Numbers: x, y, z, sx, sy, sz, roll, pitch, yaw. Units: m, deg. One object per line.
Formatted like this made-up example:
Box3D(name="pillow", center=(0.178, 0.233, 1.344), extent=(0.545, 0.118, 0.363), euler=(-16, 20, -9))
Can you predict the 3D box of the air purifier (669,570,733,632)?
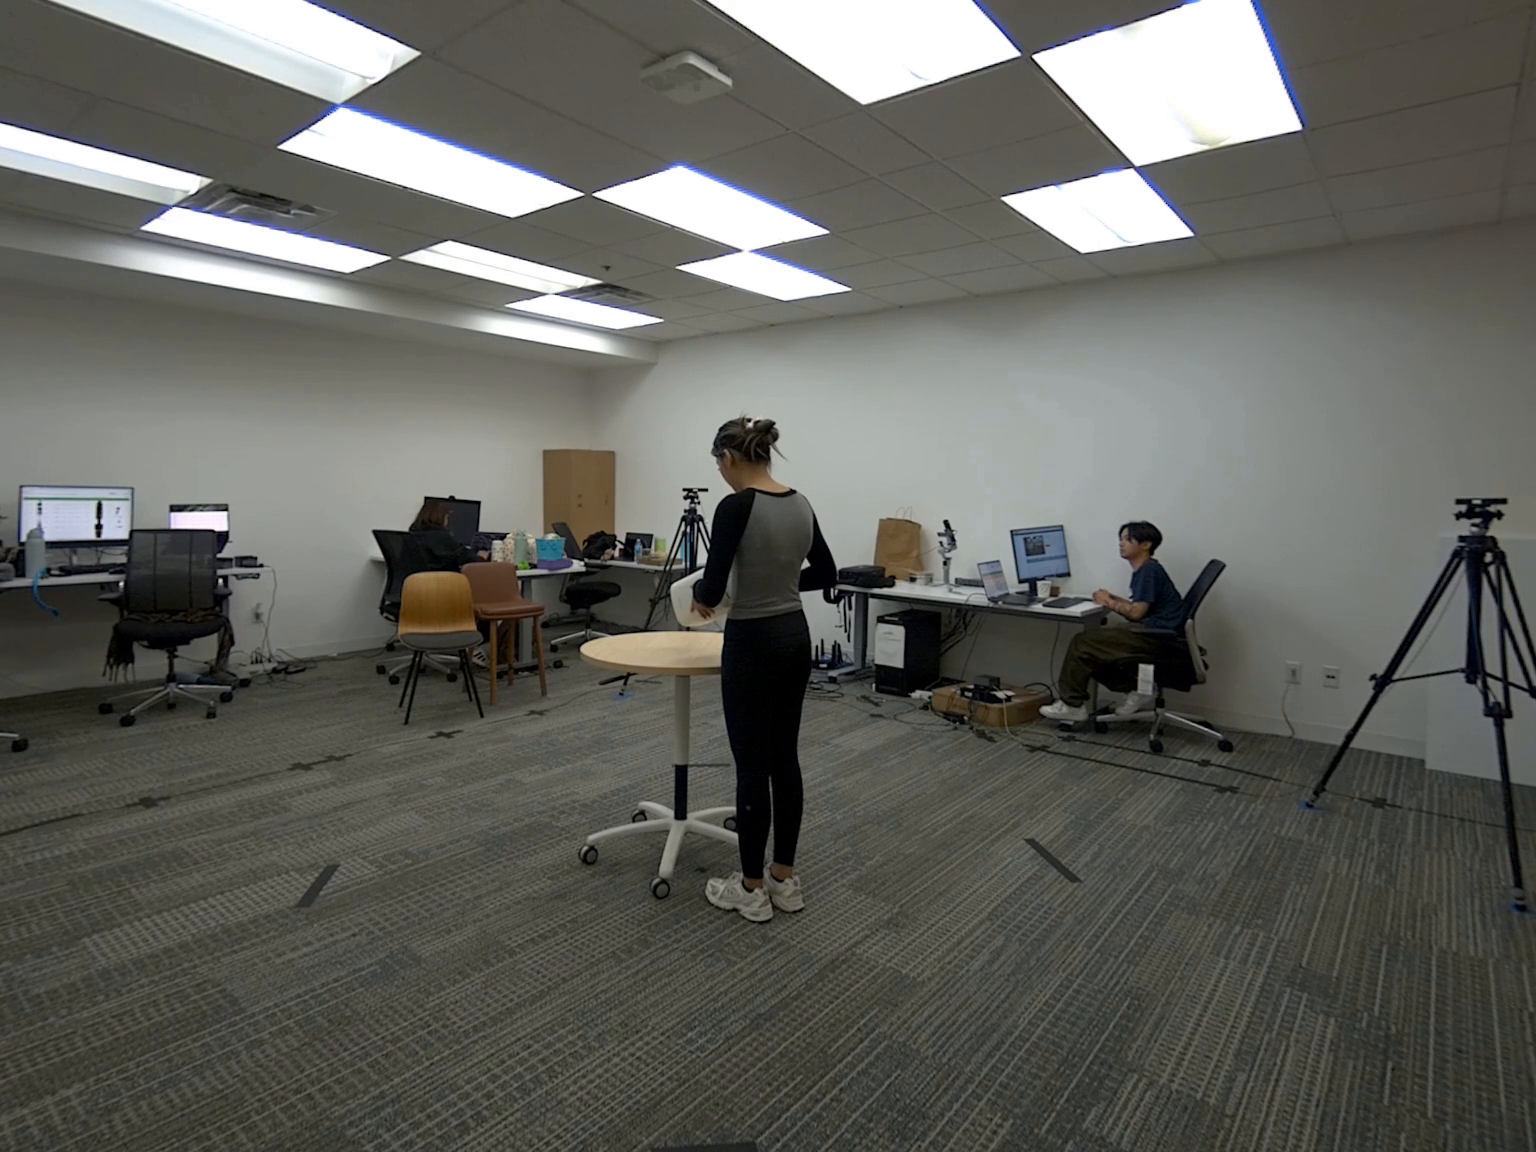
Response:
Box3D(name="air purifier", center=(-0.207, 0.059, 3.011), extent=(0.166, 0.173, 0.269), euler=(-4, -15, -43))
